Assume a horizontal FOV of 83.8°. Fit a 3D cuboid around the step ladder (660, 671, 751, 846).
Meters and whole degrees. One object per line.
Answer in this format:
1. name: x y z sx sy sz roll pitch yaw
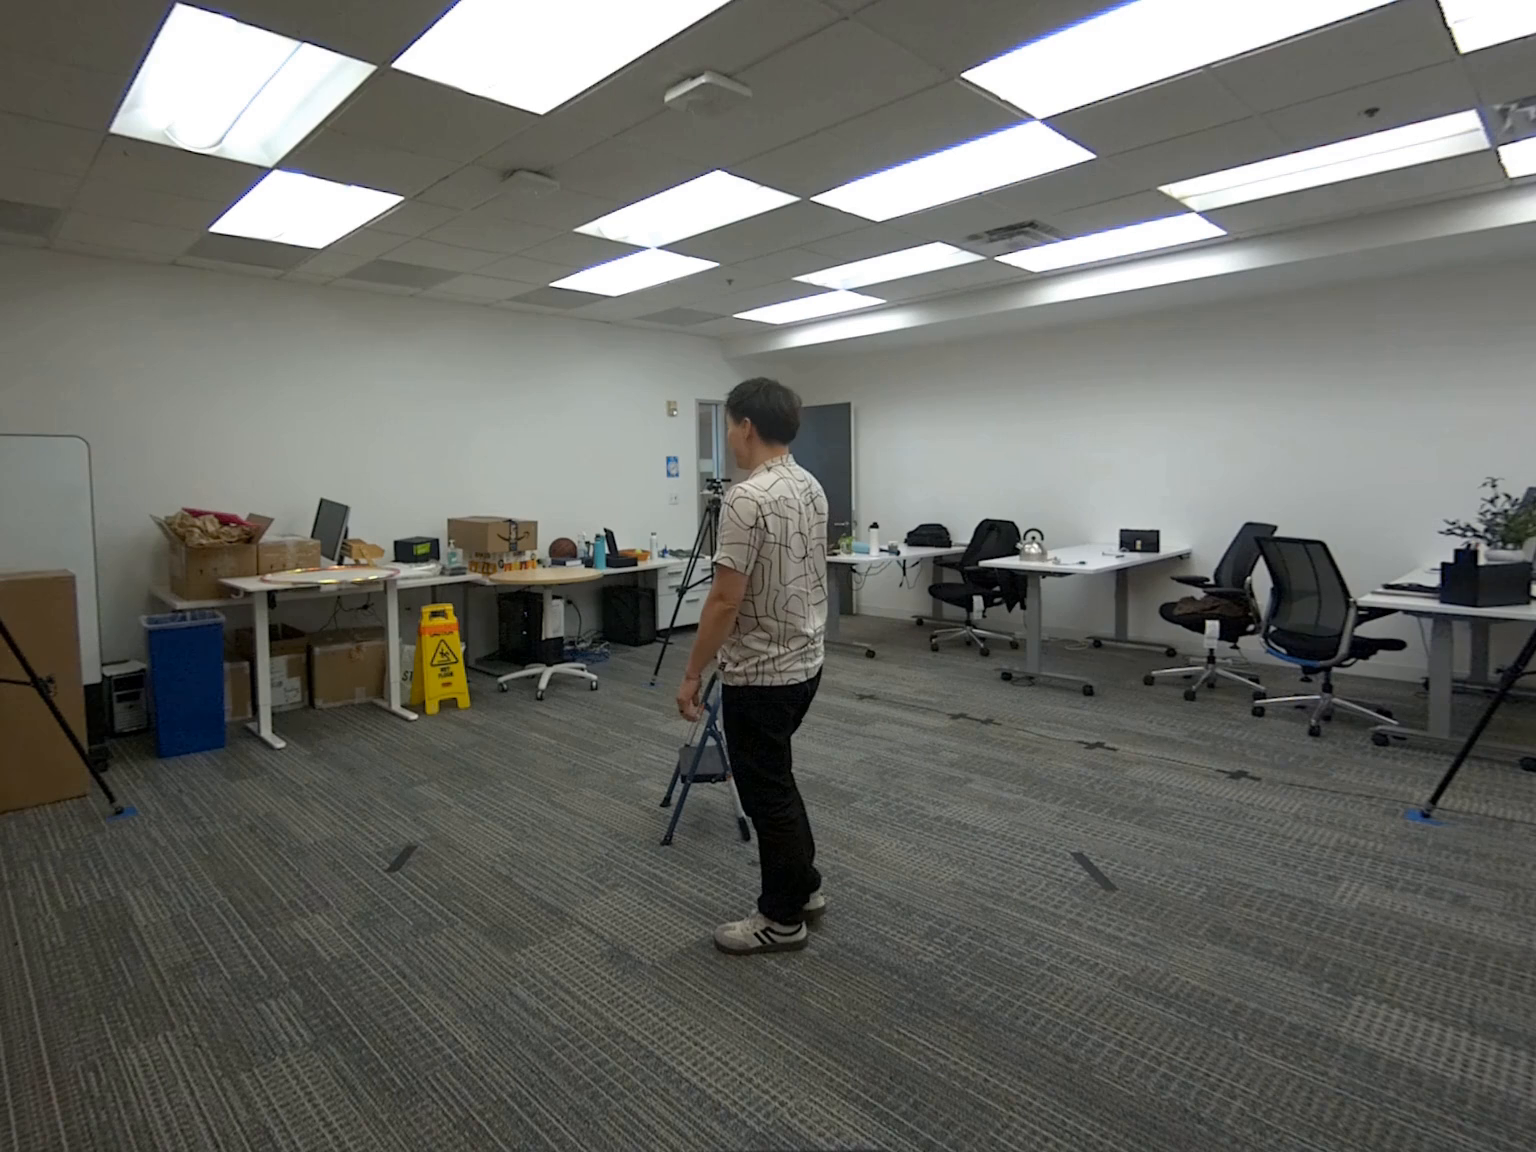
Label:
1. step ladder: -0.262 0.706 3.467 0.347 0.604 0.434 -2 4 -6
